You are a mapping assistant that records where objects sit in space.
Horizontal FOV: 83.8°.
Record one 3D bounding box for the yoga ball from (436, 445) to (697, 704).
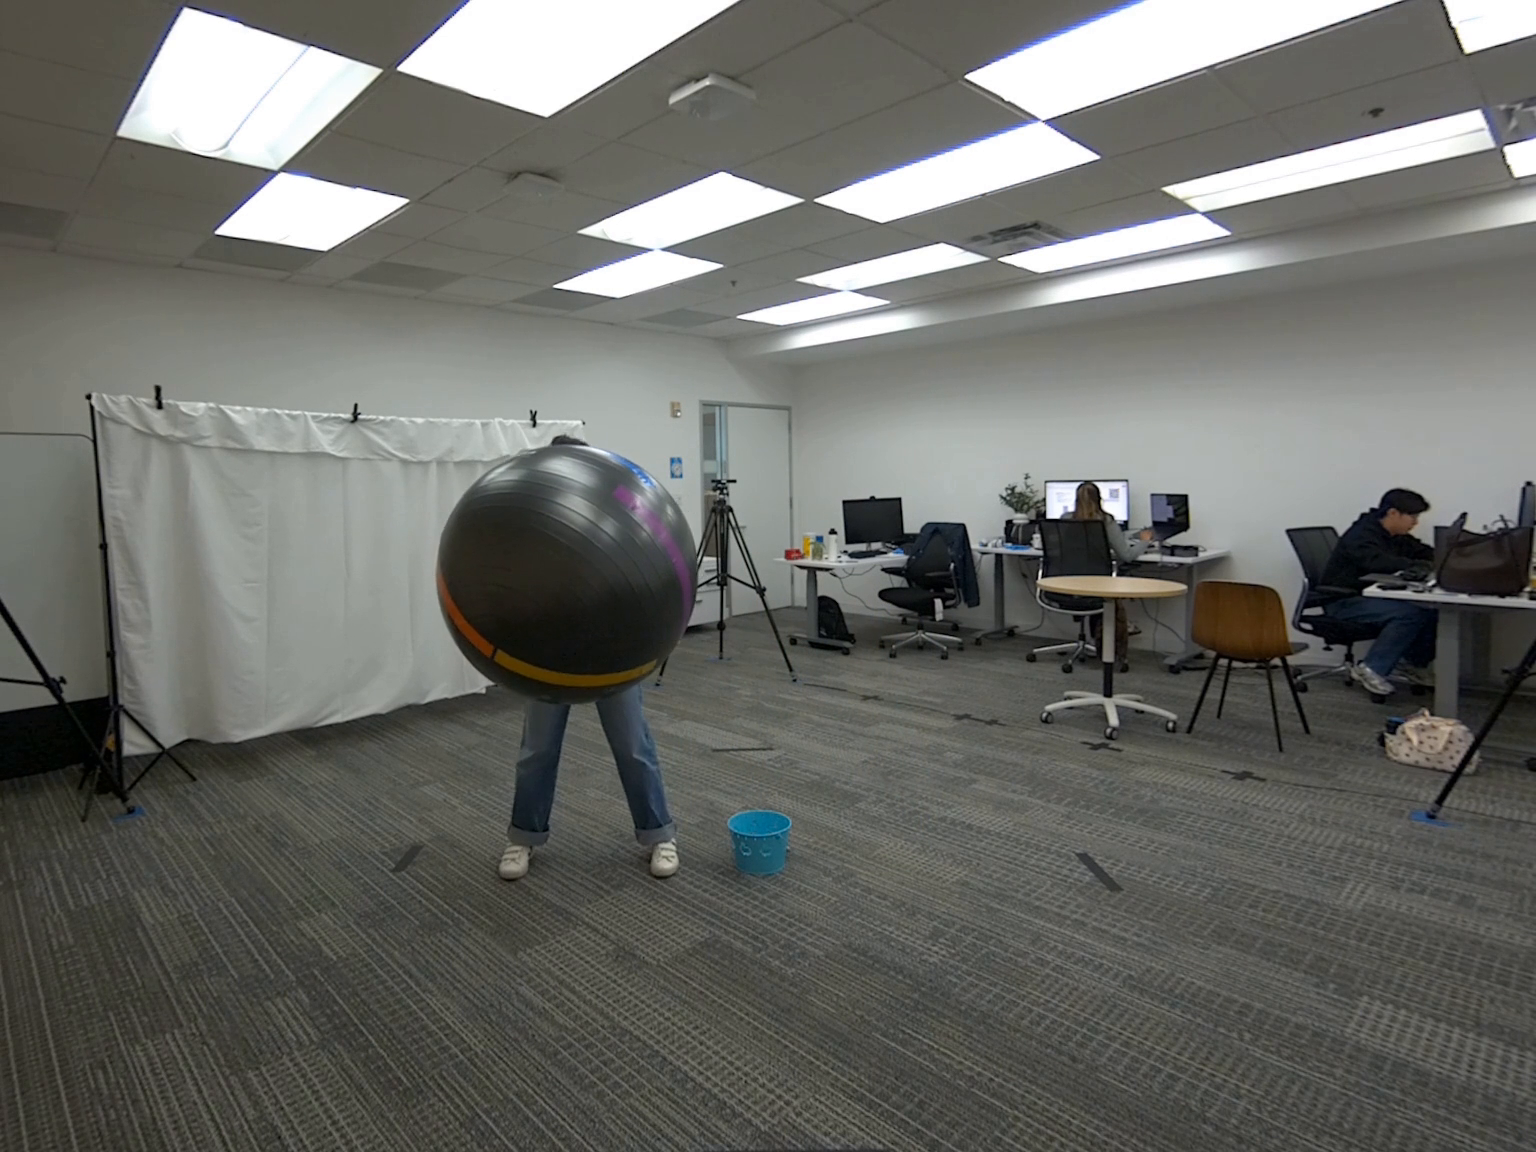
[{"bbox_3d":[-0.583,-0.004,2.520,0.757,0.755,0.762,-1,5,-2],"label":"yoga ball"}]
